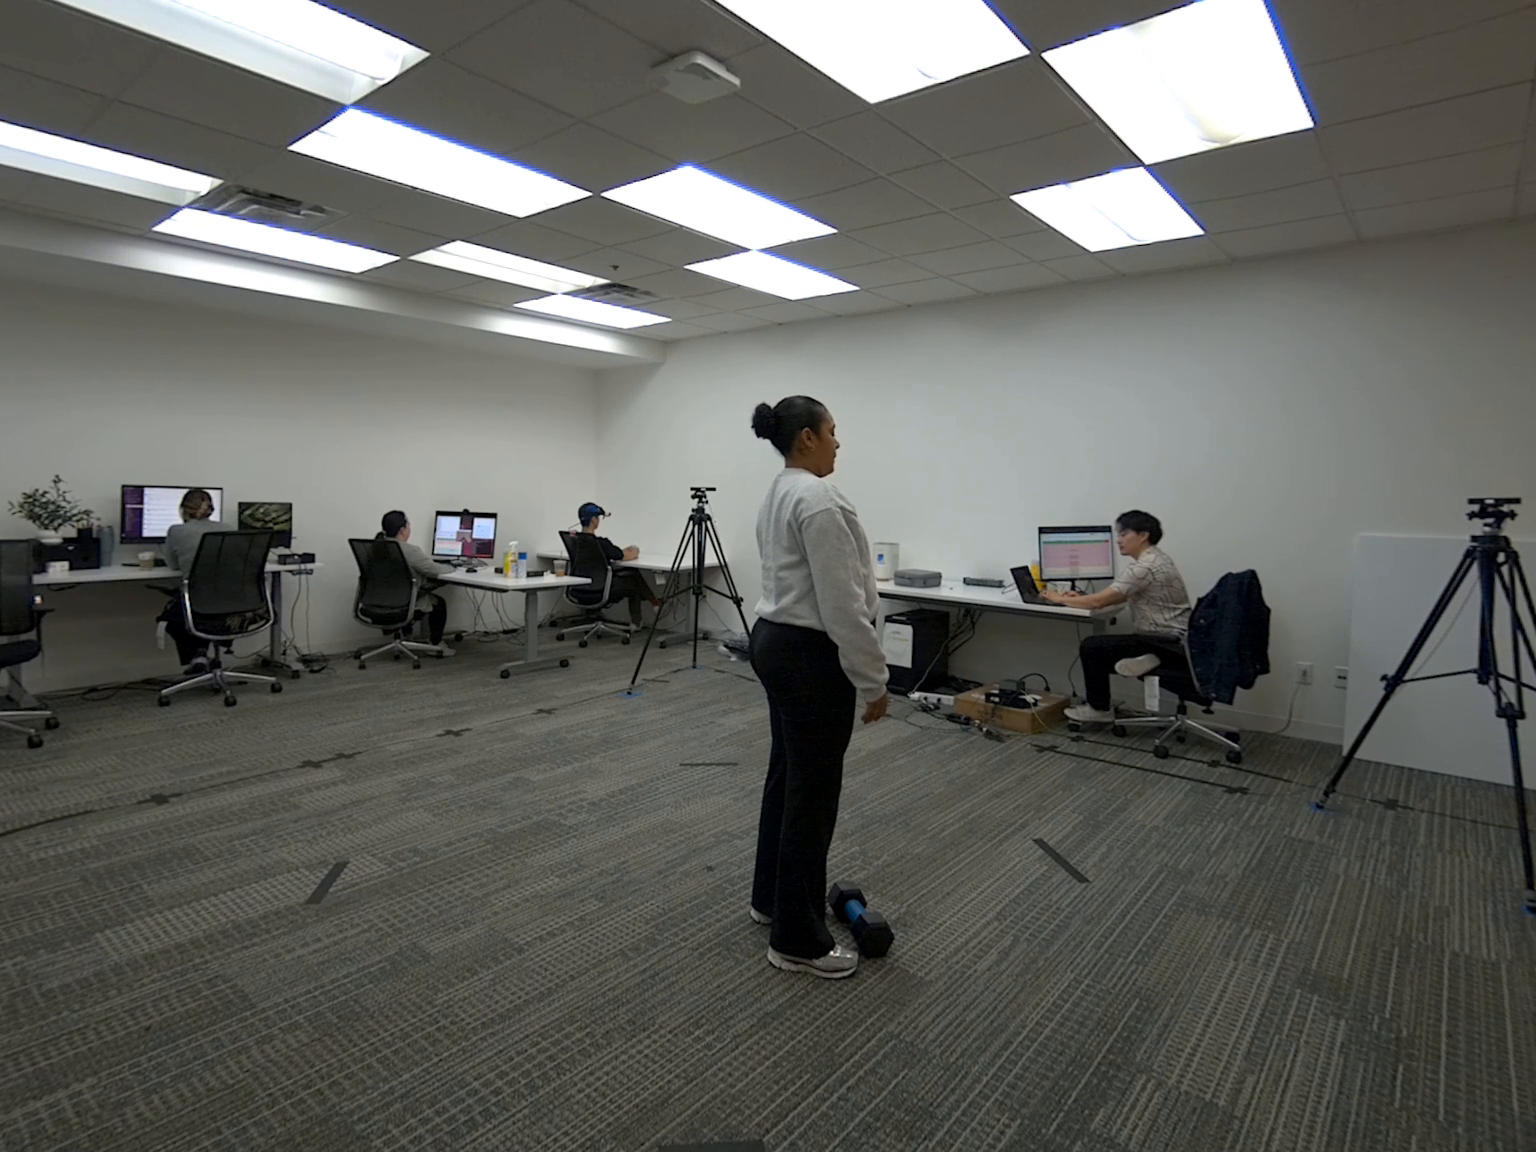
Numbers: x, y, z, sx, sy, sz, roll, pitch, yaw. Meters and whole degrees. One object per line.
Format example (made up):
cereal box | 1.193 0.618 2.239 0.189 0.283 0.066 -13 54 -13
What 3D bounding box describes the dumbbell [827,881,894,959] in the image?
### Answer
dumbbell | 0.276 1.074 2.660 0.108 0.121 0.299 -31 13 -11
